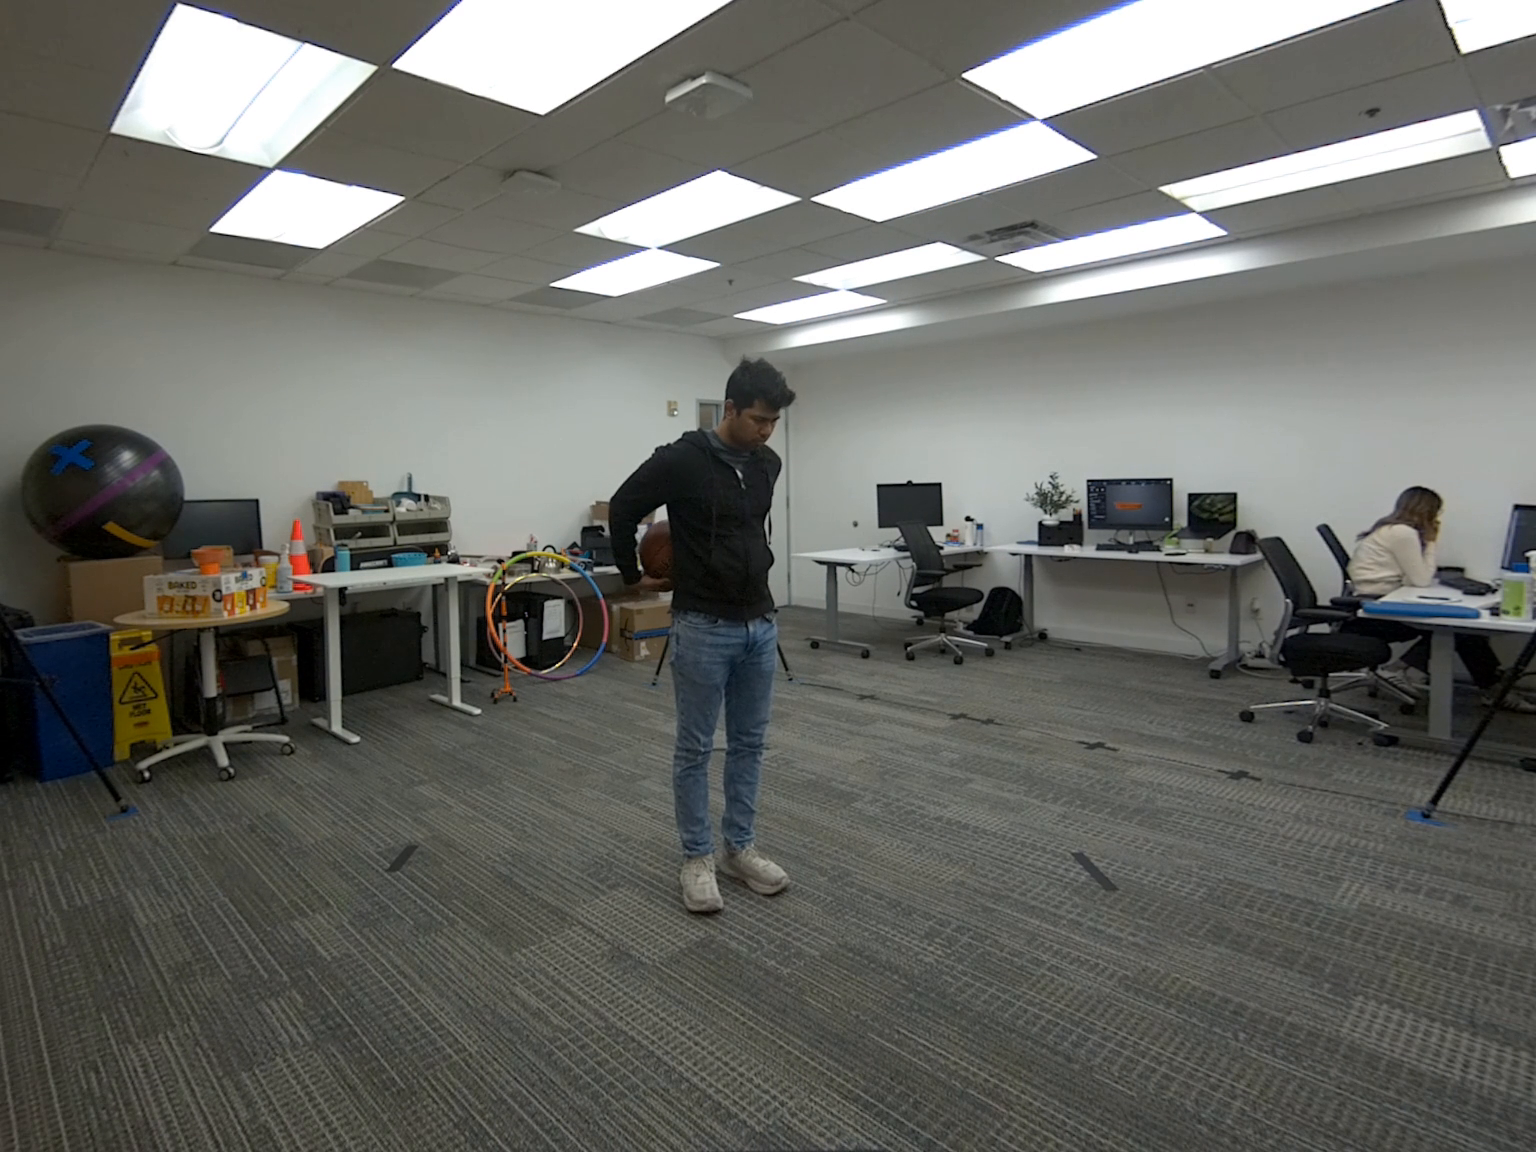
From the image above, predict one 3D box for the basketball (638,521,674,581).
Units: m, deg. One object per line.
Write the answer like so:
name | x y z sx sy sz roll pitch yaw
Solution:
basketball | -0.336 -0.082 3.032 0.236 0.235 0.237 -1 5 -2
